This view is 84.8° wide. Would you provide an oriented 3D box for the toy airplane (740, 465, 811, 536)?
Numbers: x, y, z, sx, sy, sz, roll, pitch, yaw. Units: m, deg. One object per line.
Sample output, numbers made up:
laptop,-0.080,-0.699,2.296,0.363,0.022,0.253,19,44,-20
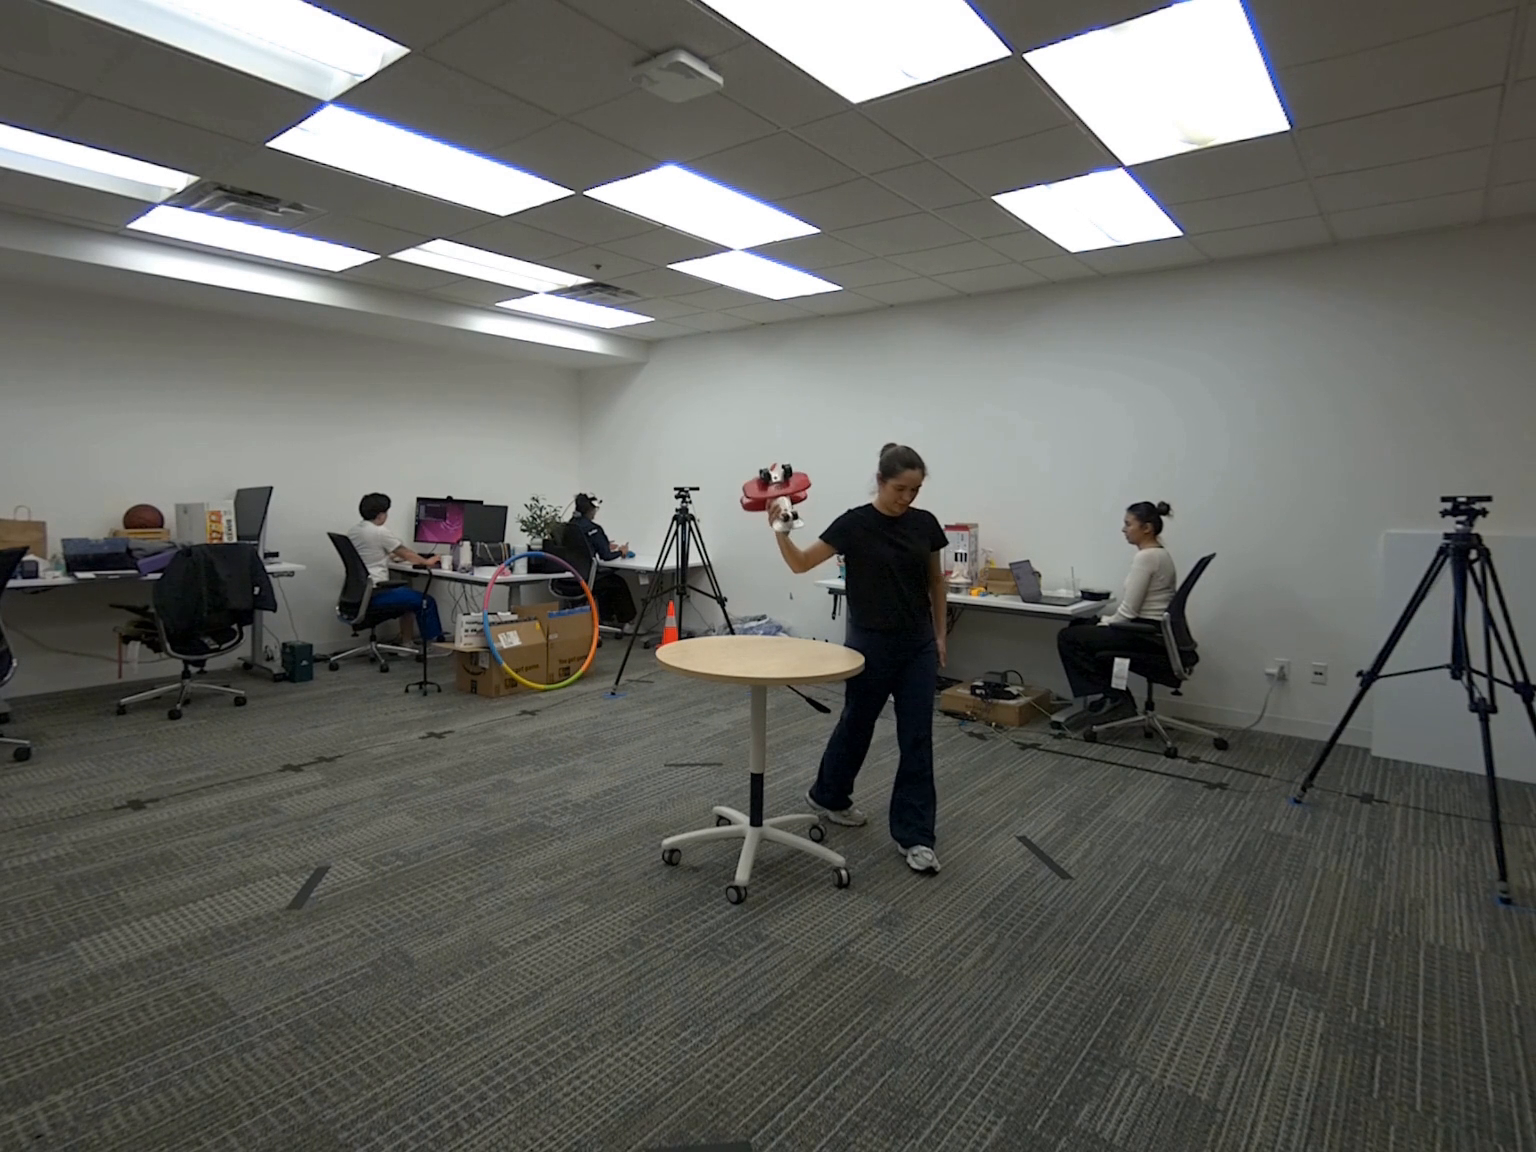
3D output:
toy airplane,0.040,-0.282,3.096,0.249,0.263,0.155,15,-21,-5
